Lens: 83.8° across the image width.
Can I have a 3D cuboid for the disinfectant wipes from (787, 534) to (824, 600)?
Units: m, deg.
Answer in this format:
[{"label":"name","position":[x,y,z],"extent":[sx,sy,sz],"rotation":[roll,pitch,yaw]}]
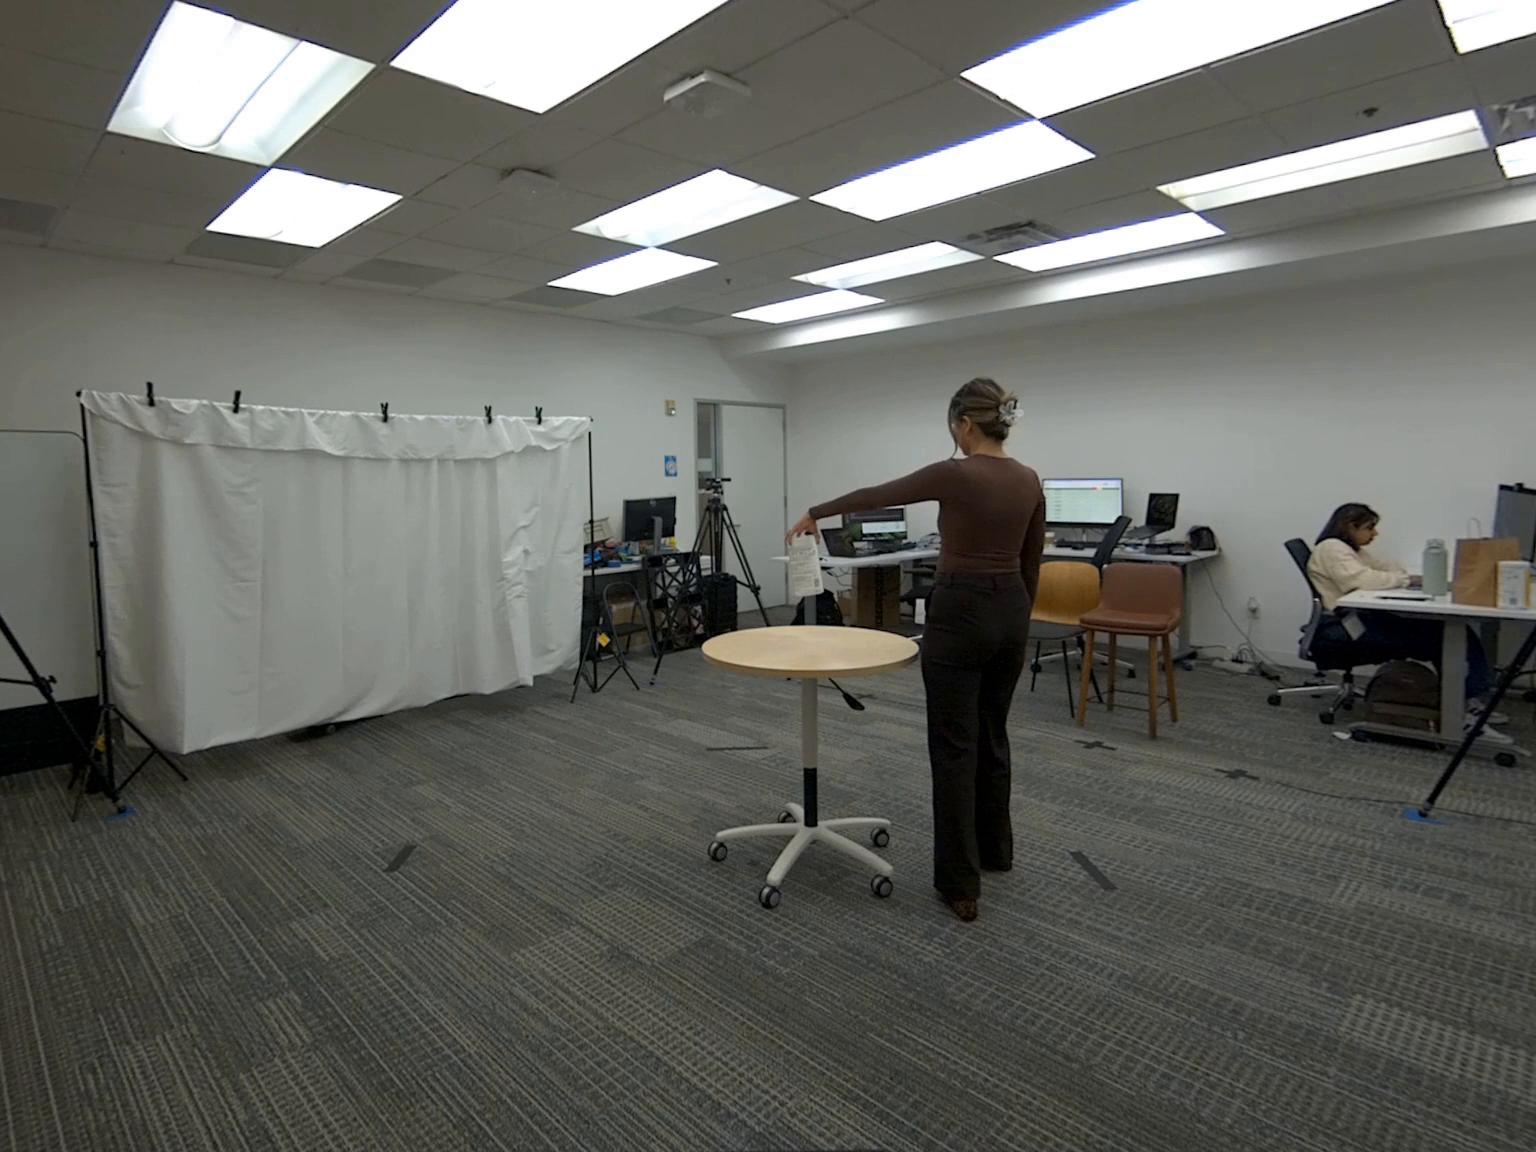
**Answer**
[{"label":"disinfectant wipes","position":[0.146,-0.038,3.164],"extent":[0.118,0.217,0.118],"rotation":[-7,1,-1]}]
